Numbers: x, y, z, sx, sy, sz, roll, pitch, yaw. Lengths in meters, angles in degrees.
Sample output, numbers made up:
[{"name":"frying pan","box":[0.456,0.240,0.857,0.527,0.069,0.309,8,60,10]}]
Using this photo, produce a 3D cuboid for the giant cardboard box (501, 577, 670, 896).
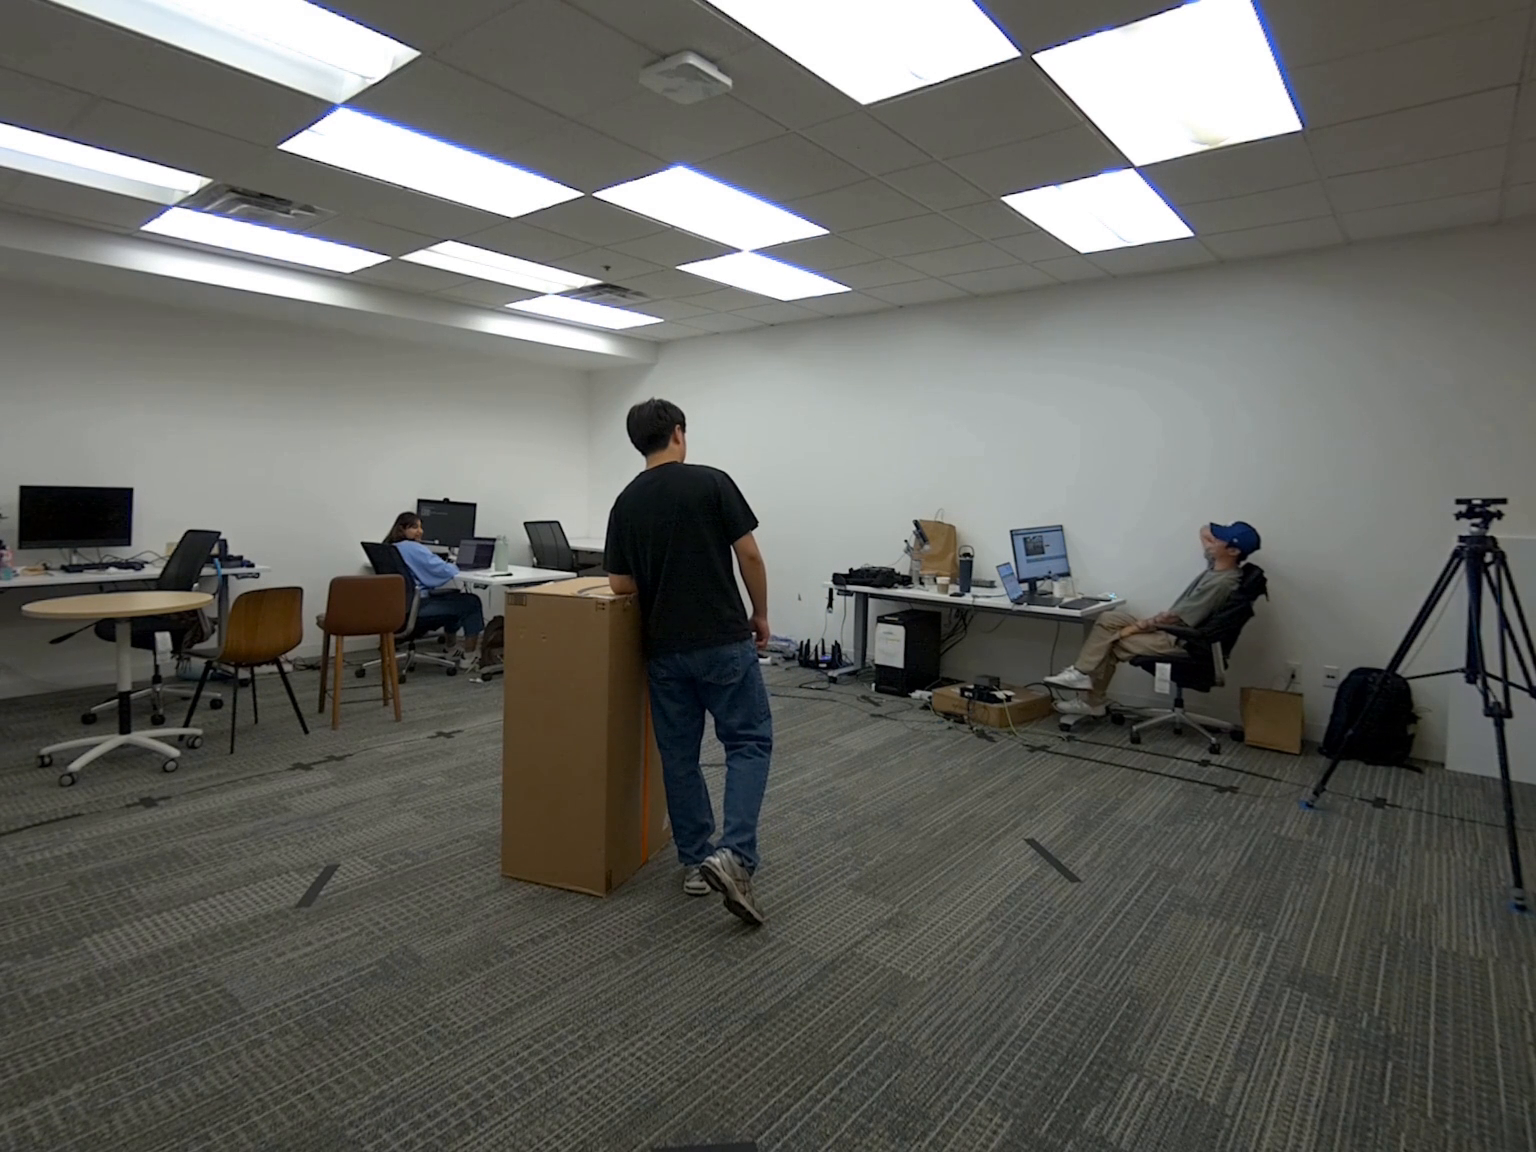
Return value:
[{"name":"giant cardboard box","box":[-0.666,0.541,3.196,0.457,1.024,0.572,3,3,20]}]
